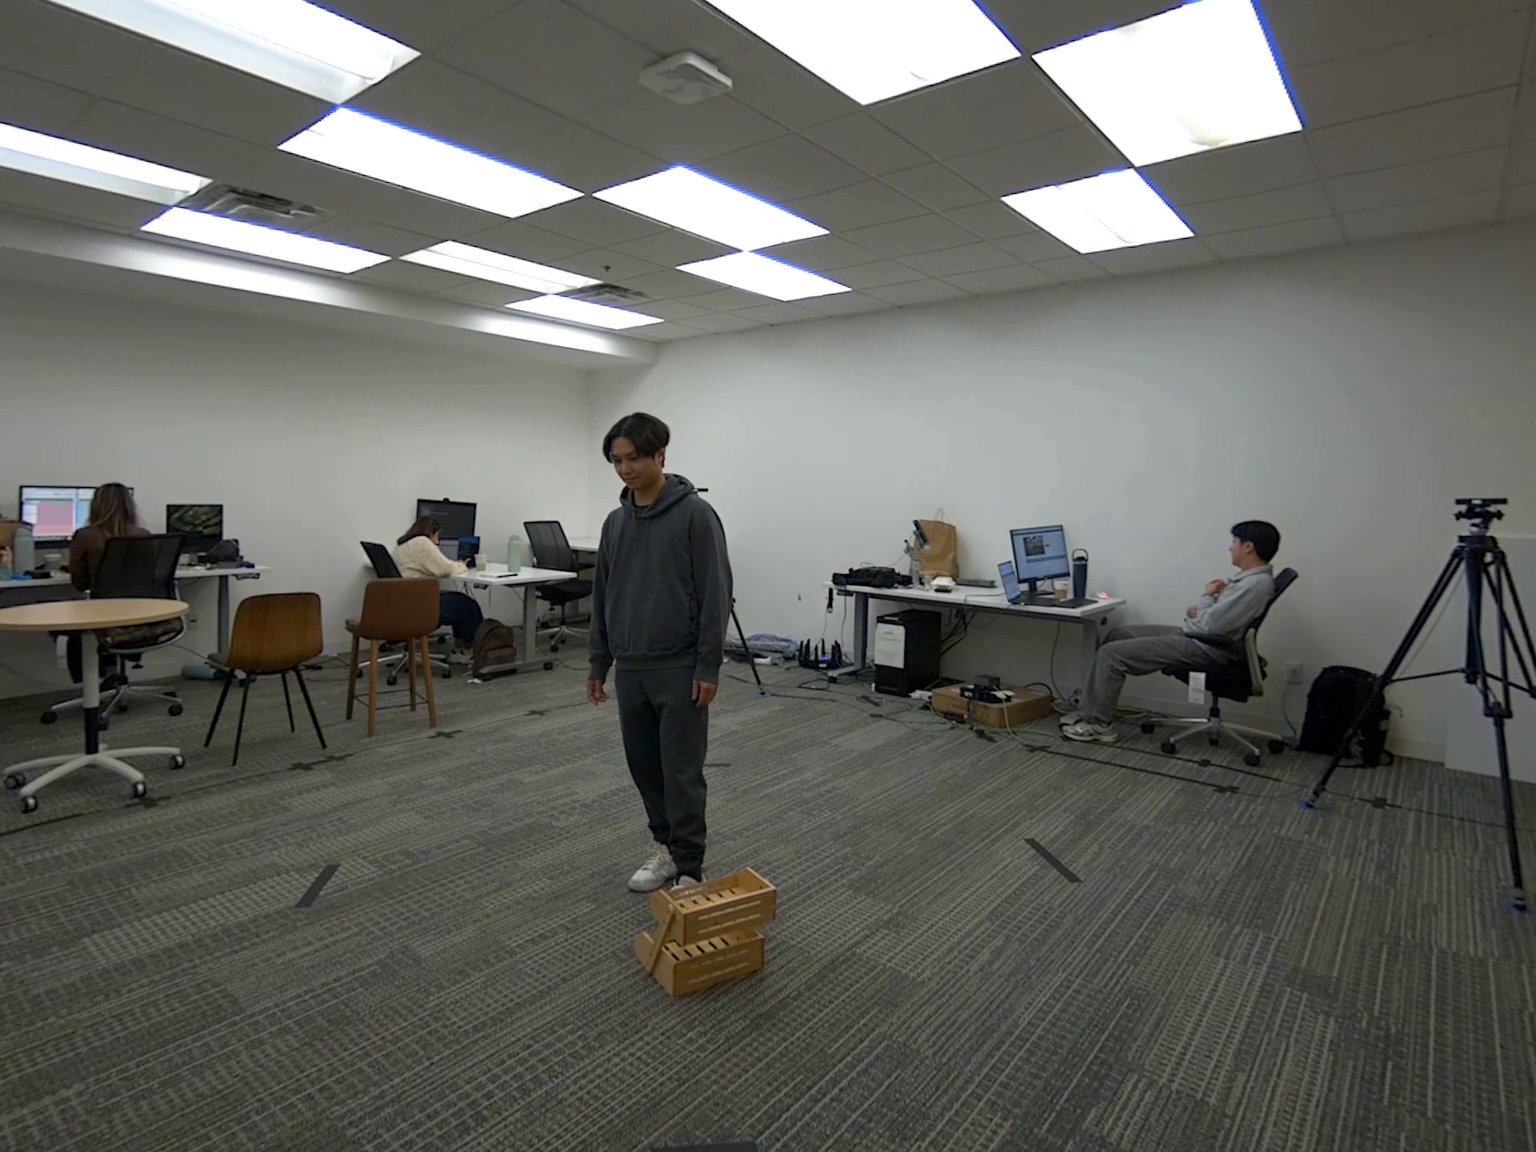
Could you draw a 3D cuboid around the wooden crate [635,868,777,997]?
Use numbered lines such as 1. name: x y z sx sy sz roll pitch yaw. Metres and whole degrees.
1. wooden crate: -0.197 0.998 2.471 0.315 0.272 0.312 -2 6 -33
